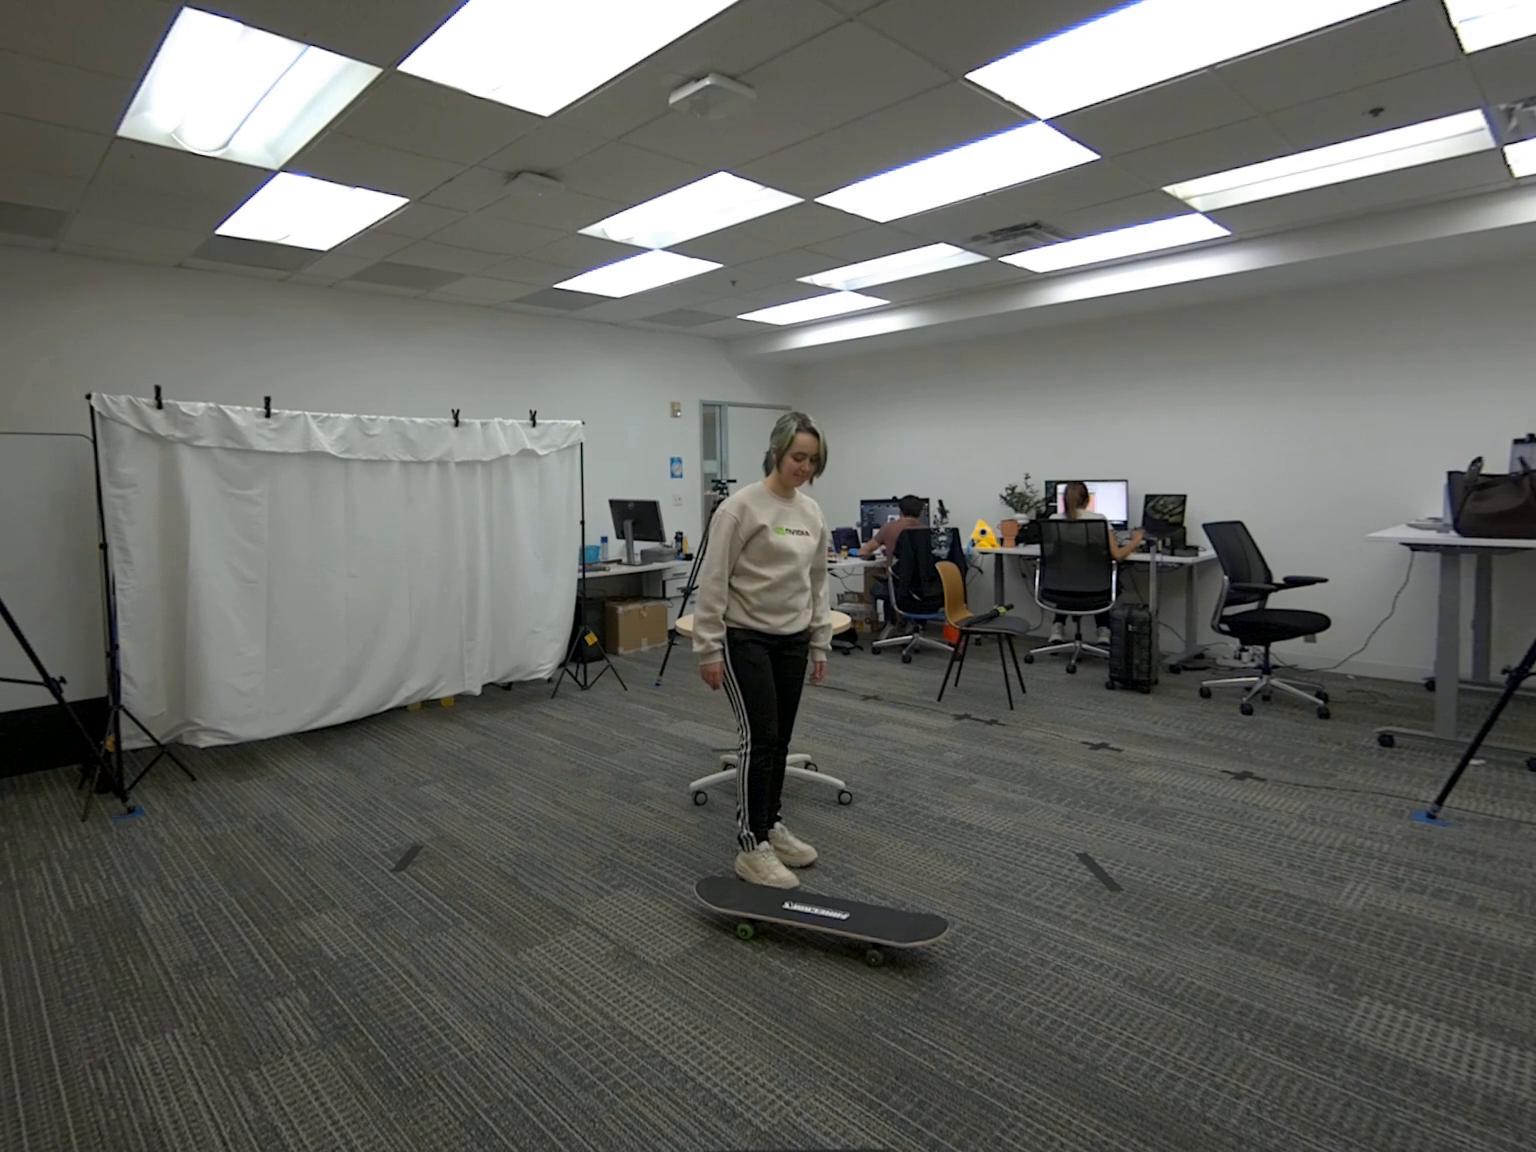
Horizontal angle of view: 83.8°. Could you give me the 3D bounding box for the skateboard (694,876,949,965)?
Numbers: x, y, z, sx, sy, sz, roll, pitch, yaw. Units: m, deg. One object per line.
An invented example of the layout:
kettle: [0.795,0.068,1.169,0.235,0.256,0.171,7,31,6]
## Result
skateboard: [0.153,1.044,2.590,0.802,0.110,0.190,2,6,23]
